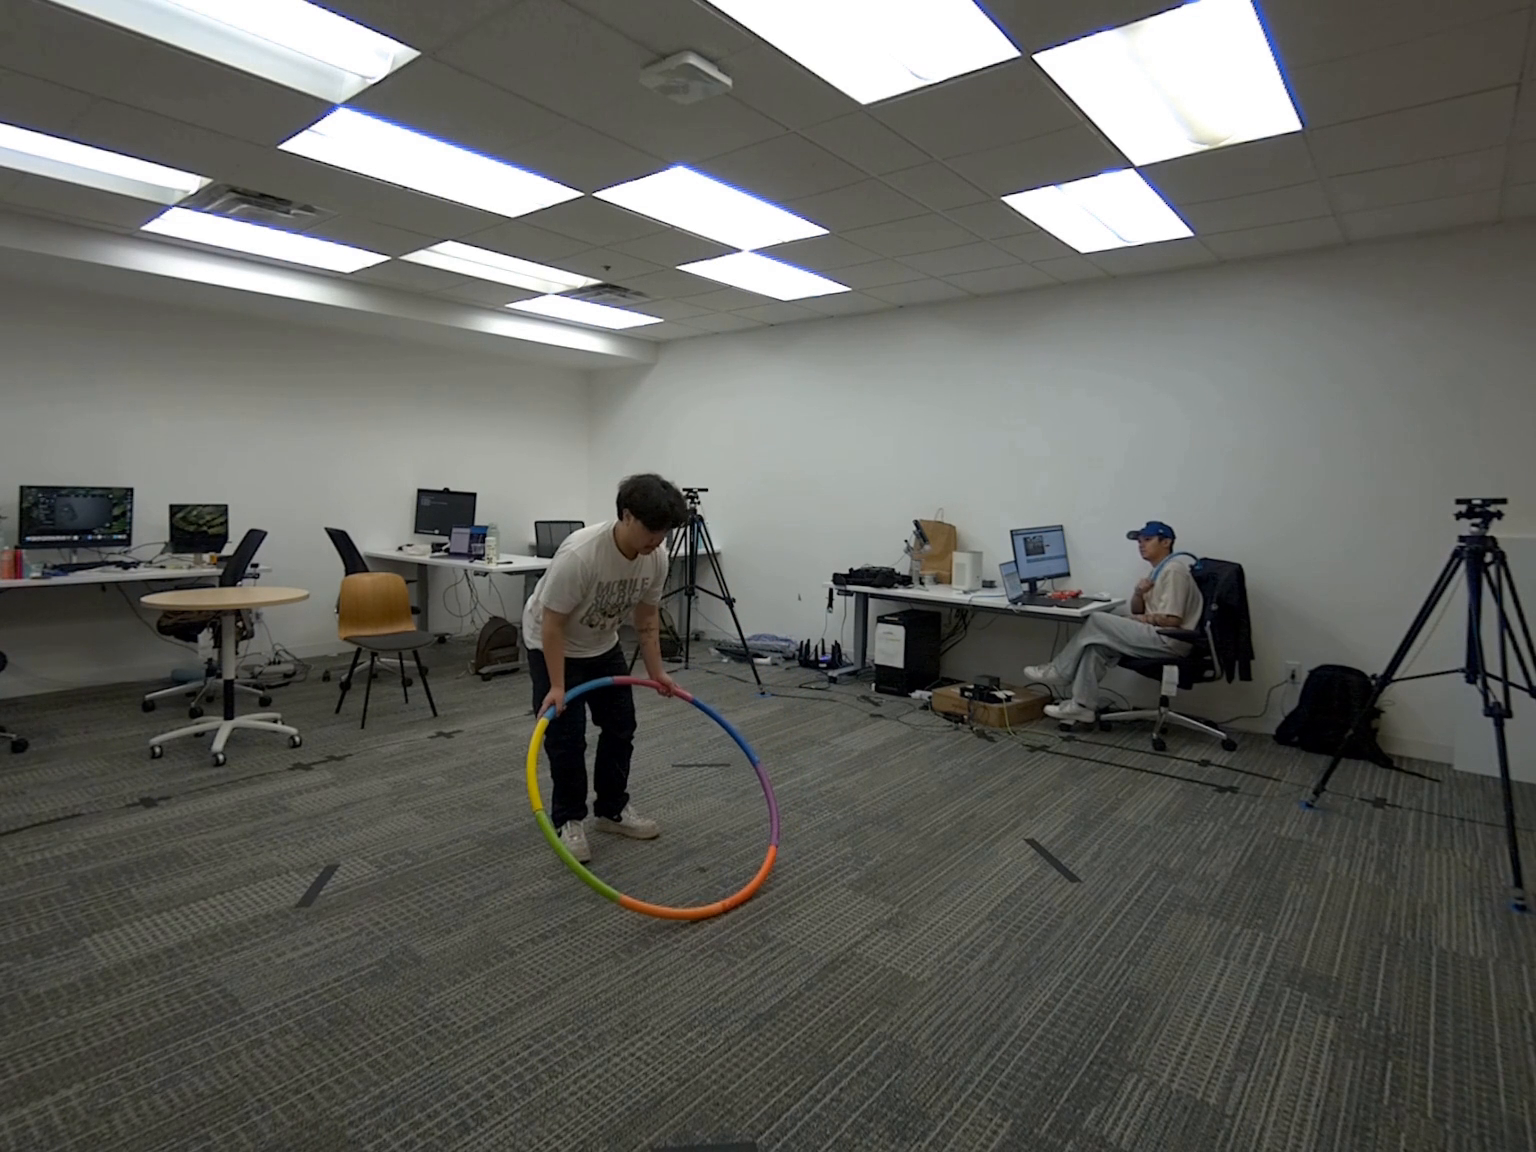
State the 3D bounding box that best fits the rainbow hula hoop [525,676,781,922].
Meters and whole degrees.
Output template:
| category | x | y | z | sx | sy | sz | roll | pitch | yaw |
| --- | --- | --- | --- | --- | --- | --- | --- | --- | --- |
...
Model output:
| category | x | y | z | sx | sy | sz | roll | pitch | yaw |
| --- | --- | --- | --- | --- | --- | --- | --- | --- | --- |
| rainbow hula hoop | -0.383 | 0.746 | 3.034 | 0.964 | 0.051 | 1.013 | 22 | 33 | -17 |
